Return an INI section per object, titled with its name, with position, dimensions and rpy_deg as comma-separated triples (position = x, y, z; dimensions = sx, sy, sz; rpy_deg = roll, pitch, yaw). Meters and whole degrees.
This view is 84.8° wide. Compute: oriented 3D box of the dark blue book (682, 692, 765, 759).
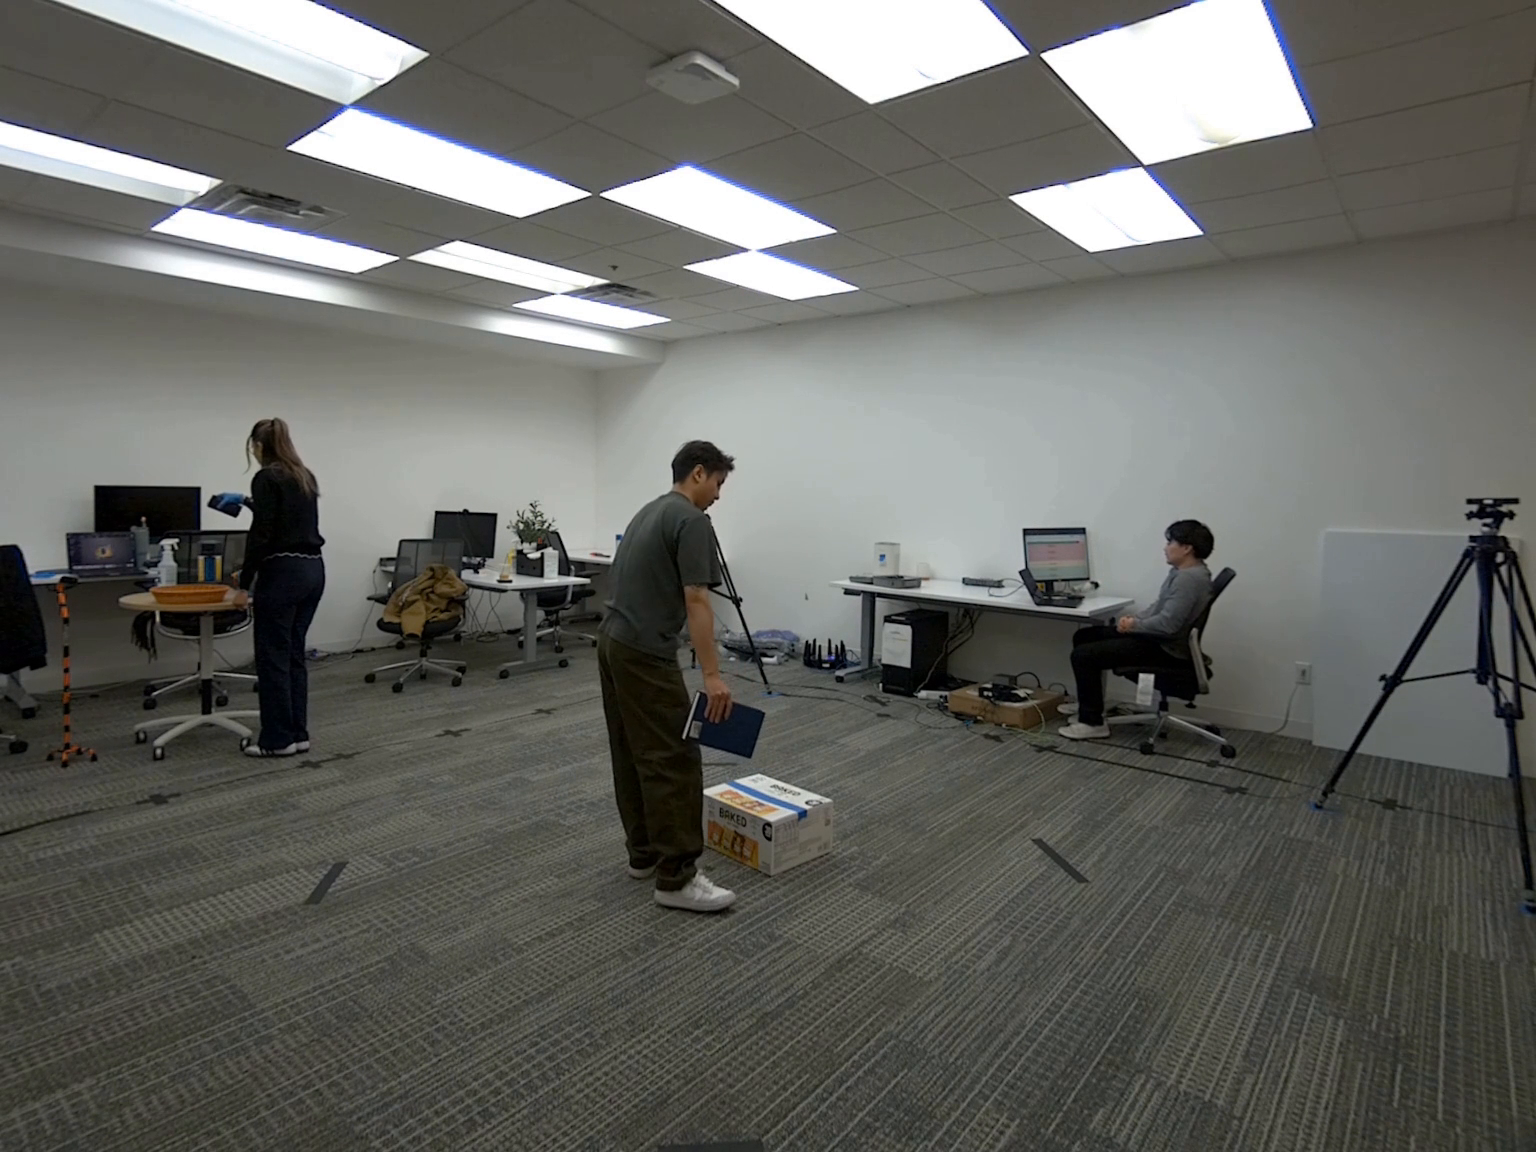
[dark blue book]
position = -0.163, 0.498, 2.830
dimensions = 0.240, 0.164, 0.046
rpy_deg = 18, -4, -15
